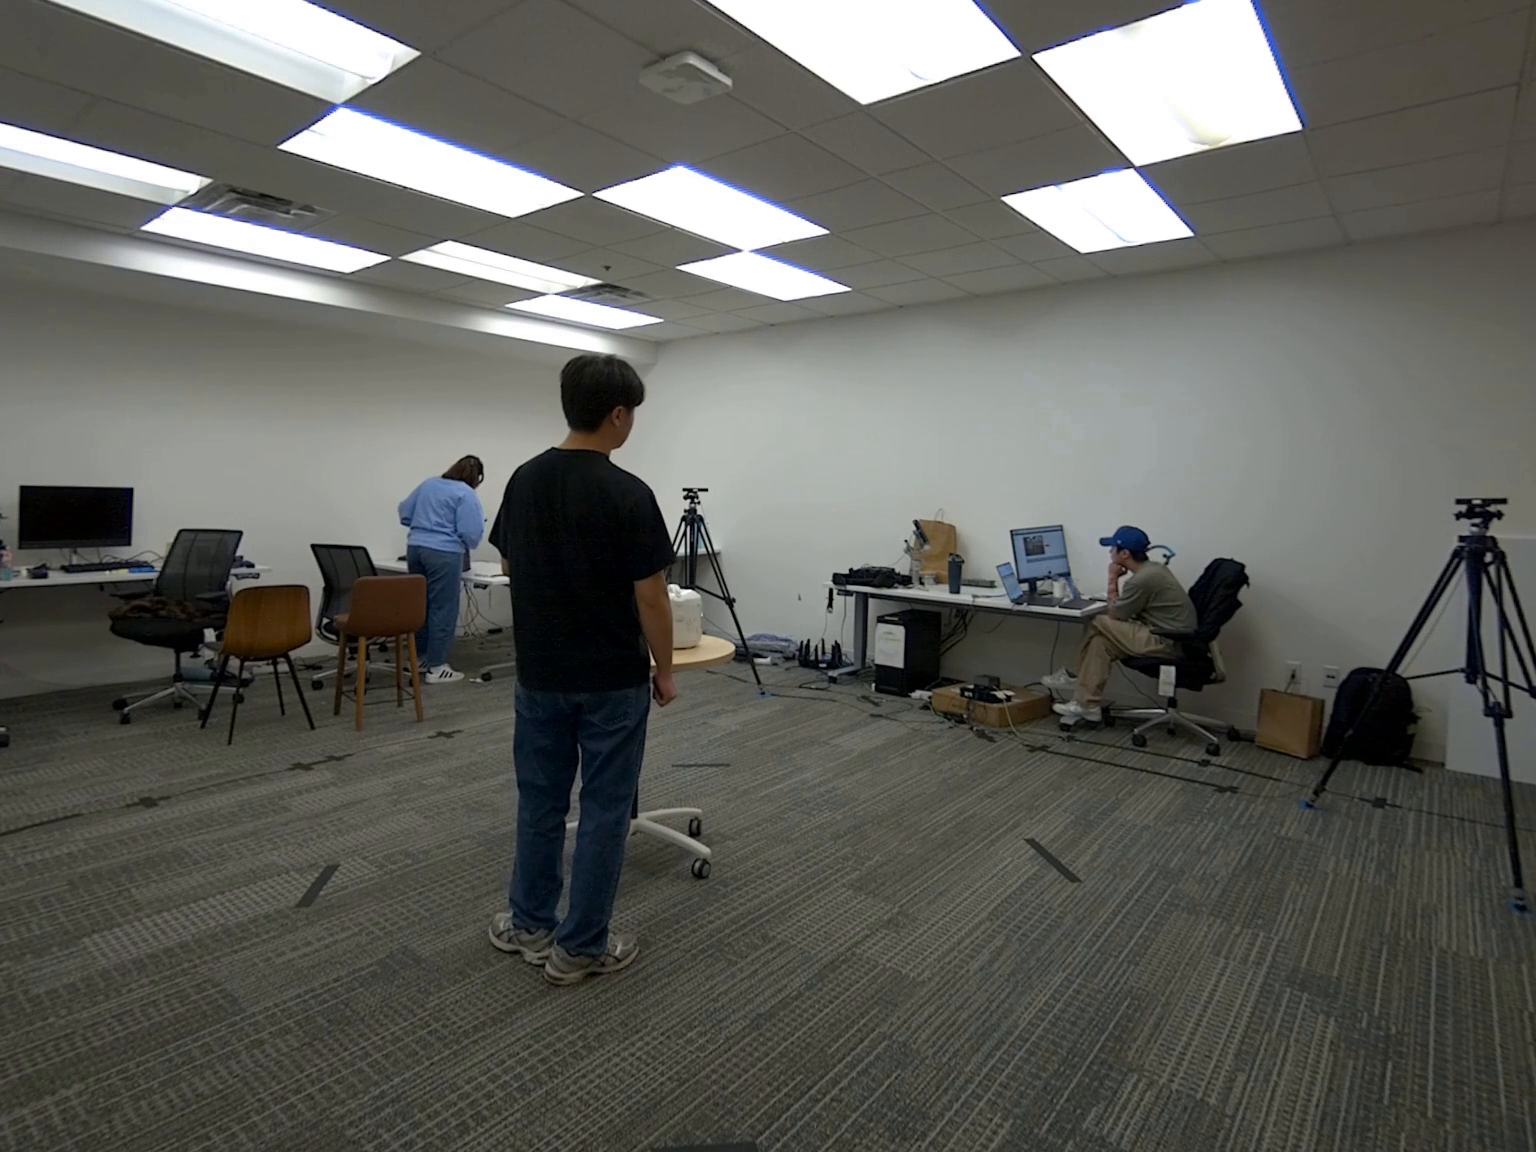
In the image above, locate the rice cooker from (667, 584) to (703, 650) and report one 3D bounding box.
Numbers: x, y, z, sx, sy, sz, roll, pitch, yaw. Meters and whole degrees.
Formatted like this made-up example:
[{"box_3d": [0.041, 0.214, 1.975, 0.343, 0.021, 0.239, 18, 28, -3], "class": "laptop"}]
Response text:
[{"box_3d": [-0.360, 0.141, 3.211, 0.214, 0.232, 0.225, 0, 4, -17], "class": "rice cooker"}]
